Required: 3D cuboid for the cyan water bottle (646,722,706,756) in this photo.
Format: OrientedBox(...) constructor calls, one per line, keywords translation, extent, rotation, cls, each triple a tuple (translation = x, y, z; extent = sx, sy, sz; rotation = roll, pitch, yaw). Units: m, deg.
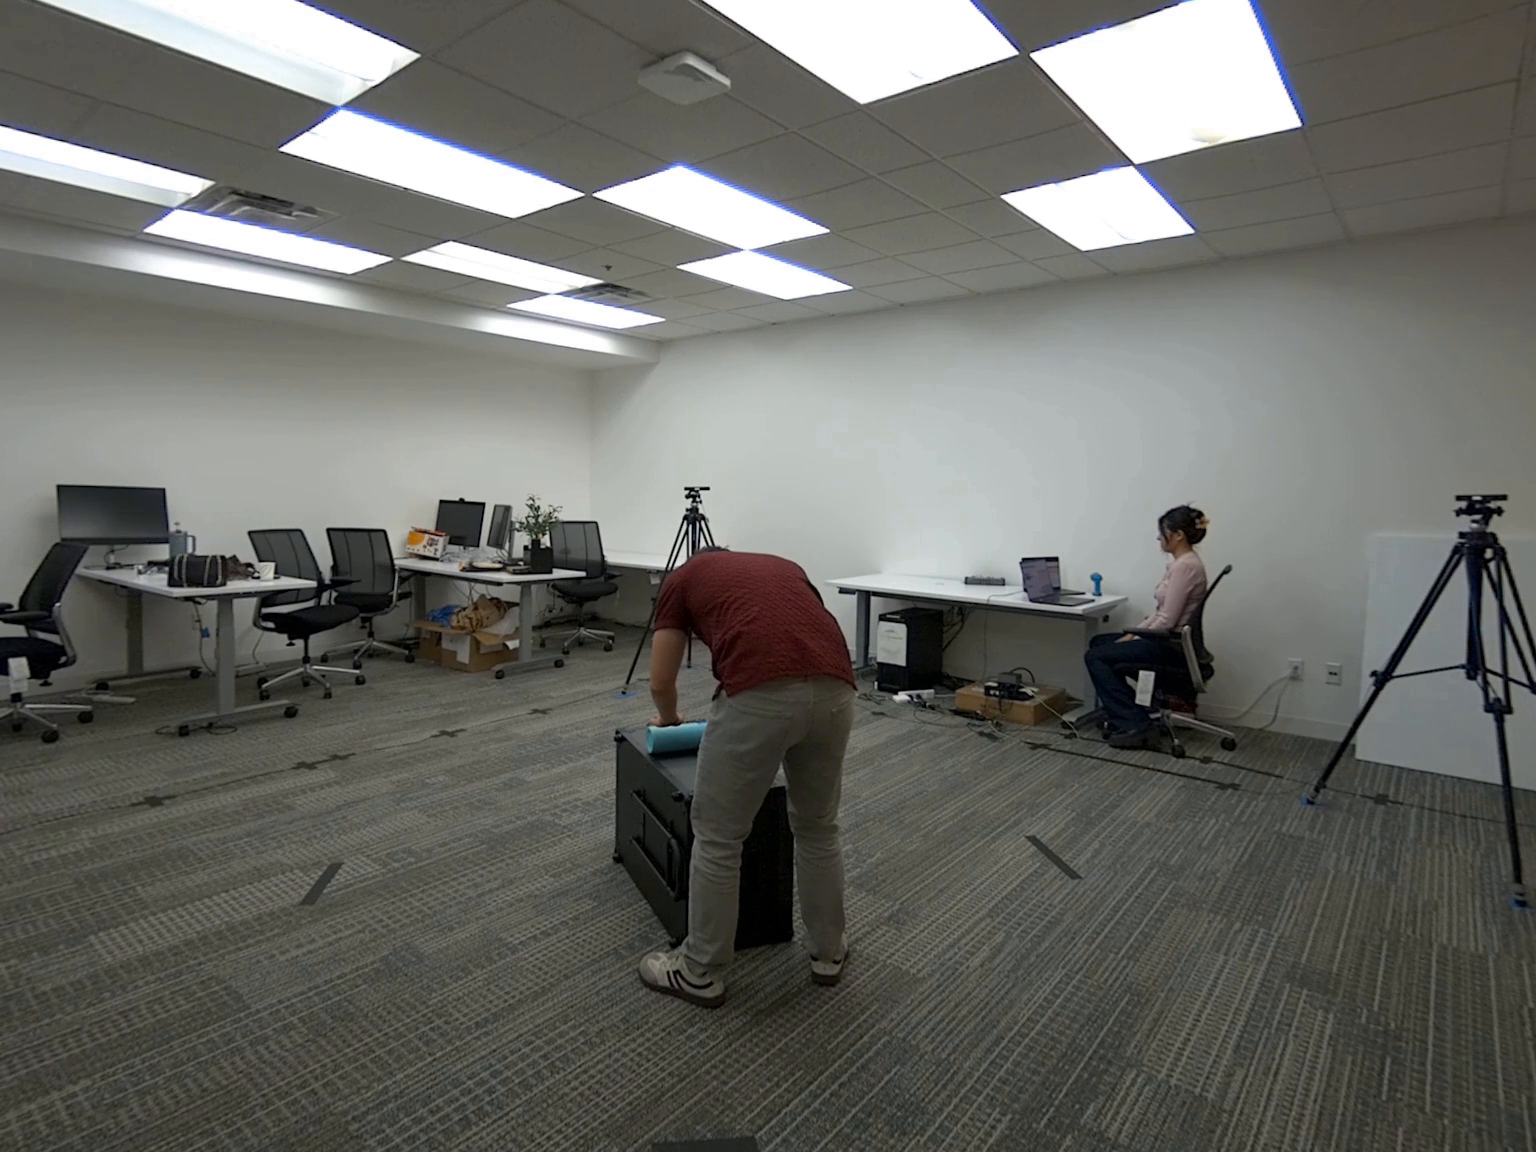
OrientedBox(translation=(-0.288, 0.548, 2.937), extent=(0.277, 0.092, 0.094), rotation=(2, 3, -21), cls="cyan water bottle")
